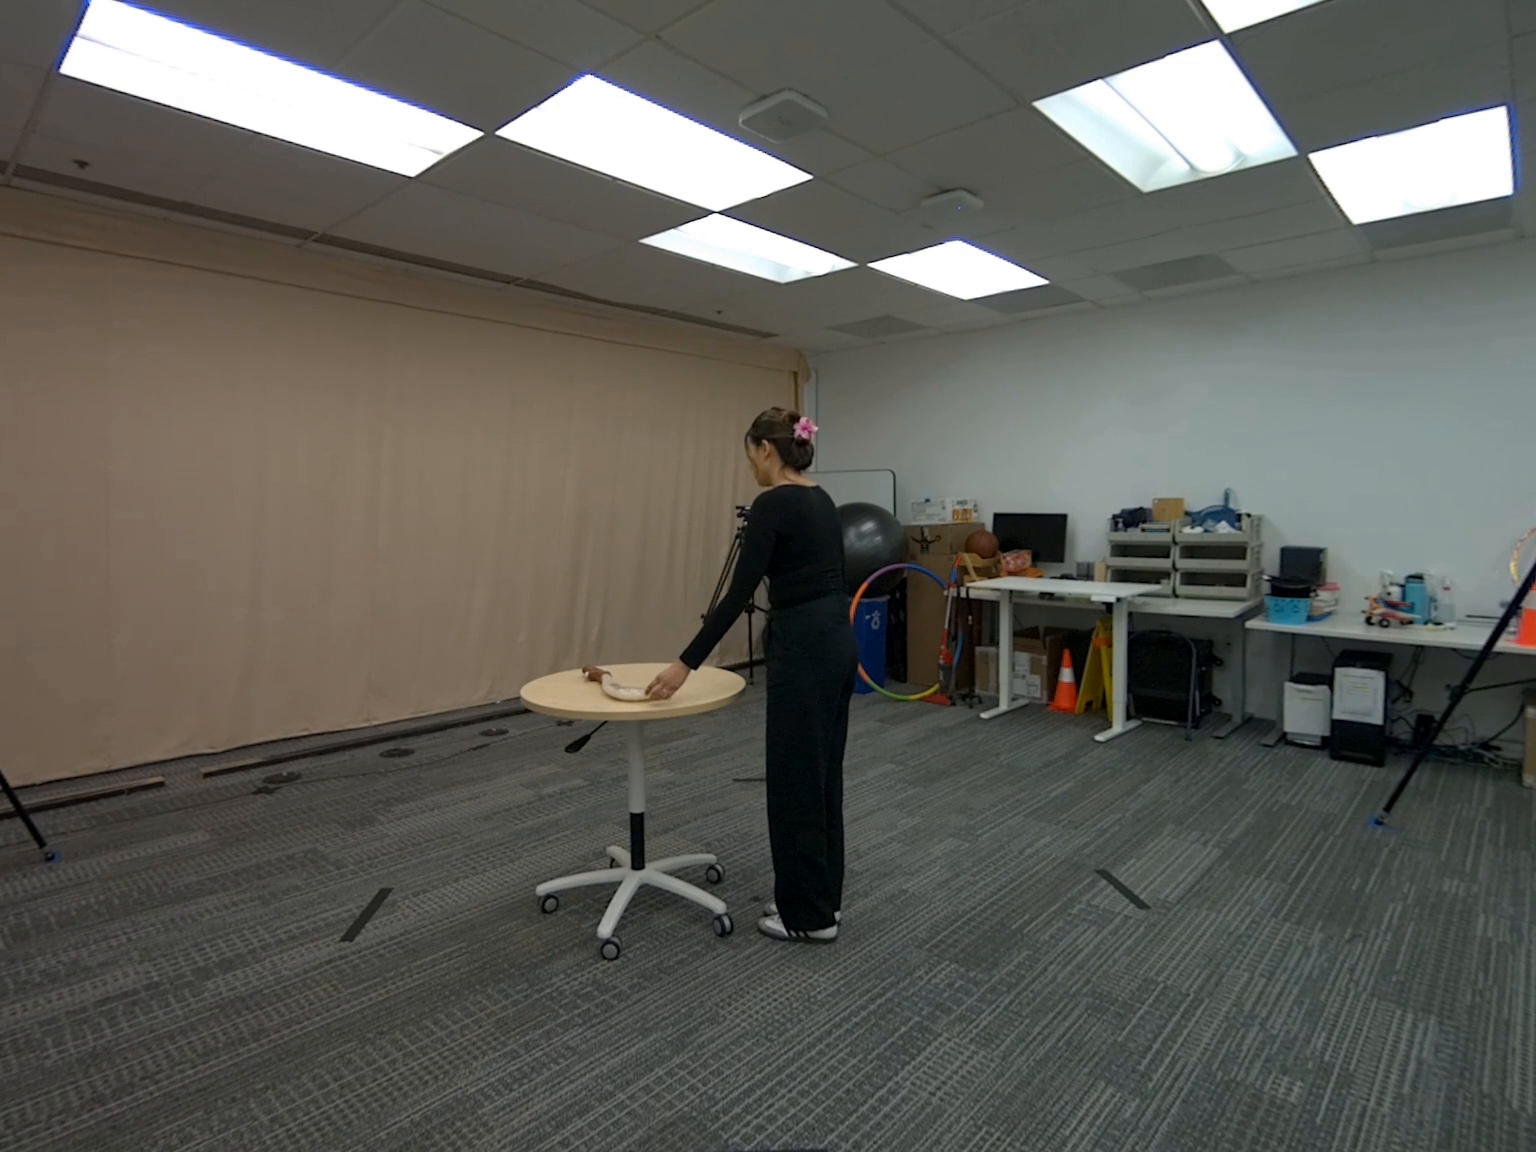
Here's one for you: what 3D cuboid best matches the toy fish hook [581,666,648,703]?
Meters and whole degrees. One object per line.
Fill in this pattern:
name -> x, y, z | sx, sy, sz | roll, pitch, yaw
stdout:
toy fish hook -> -0.488, 0.367, 2.857 | 0.218, 0.048, 0.521 | 6, 2, -29
